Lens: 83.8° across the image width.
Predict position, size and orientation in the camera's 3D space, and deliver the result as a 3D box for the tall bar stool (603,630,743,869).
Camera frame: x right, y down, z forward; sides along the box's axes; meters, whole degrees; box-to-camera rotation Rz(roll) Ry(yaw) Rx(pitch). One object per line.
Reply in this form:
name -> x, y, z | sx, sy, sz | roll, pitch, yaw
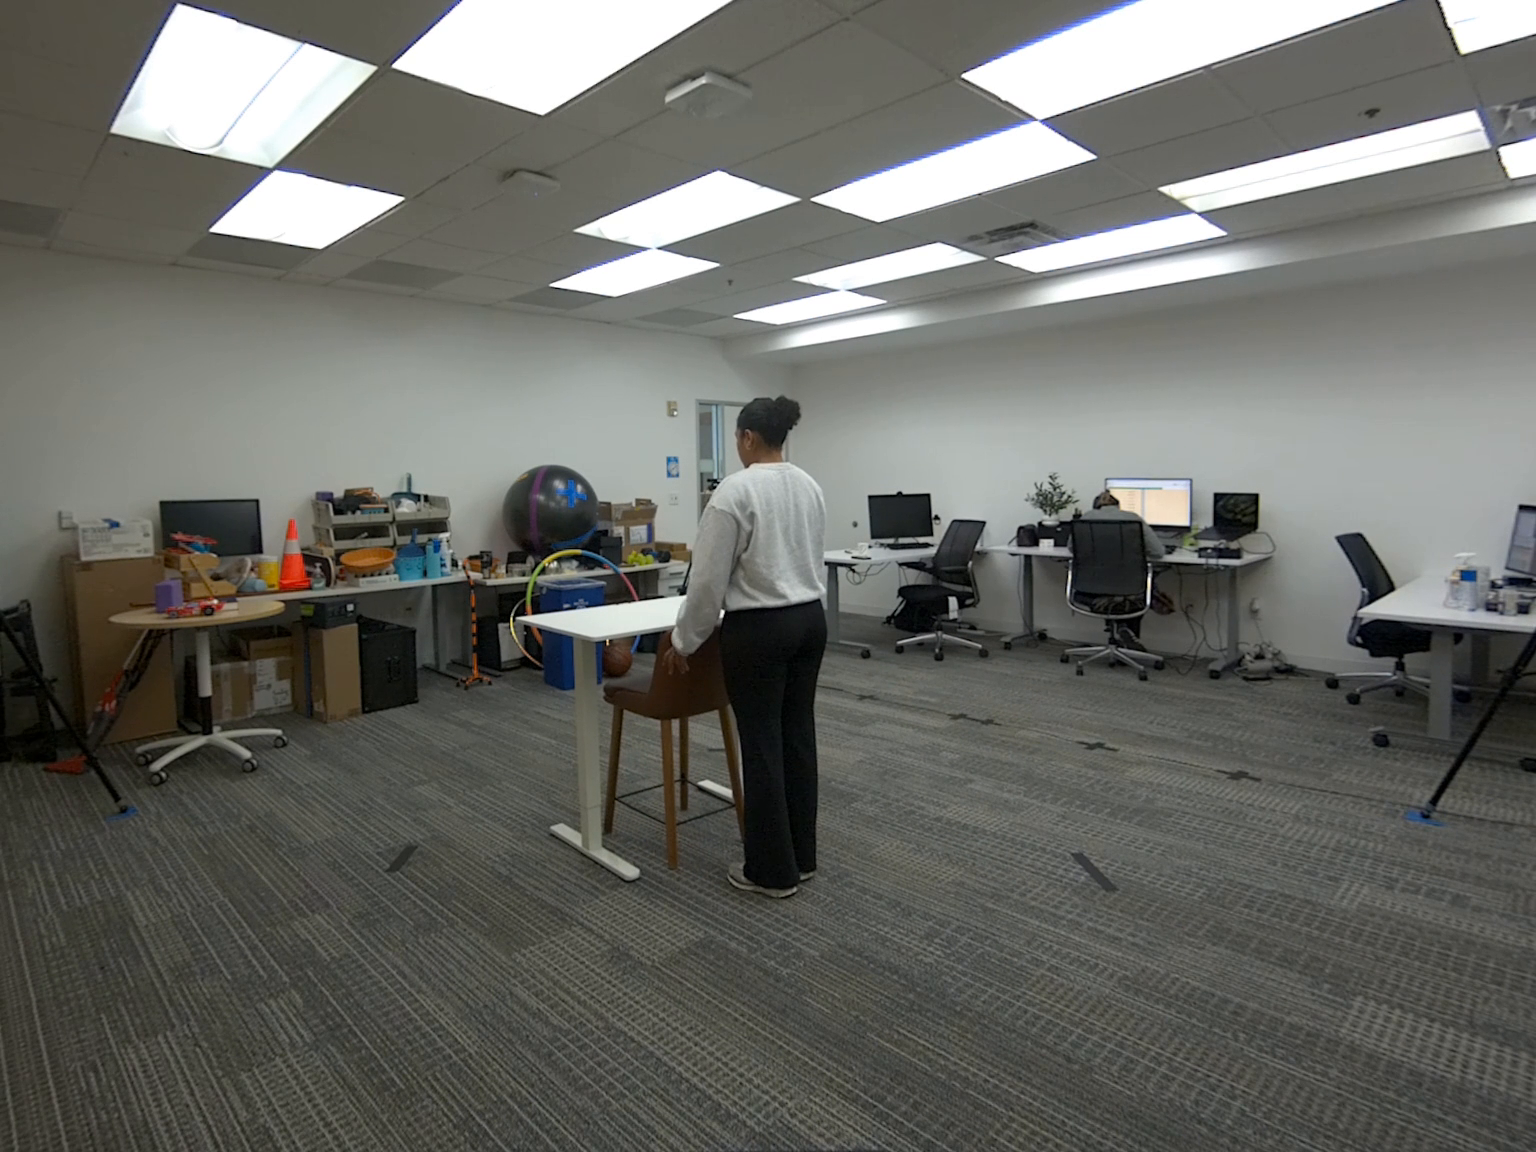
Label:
tall bar stool -> -0.354, 0.592, 3.316 | 0.445, 0.885, 0.483 | -5, 8, -40
